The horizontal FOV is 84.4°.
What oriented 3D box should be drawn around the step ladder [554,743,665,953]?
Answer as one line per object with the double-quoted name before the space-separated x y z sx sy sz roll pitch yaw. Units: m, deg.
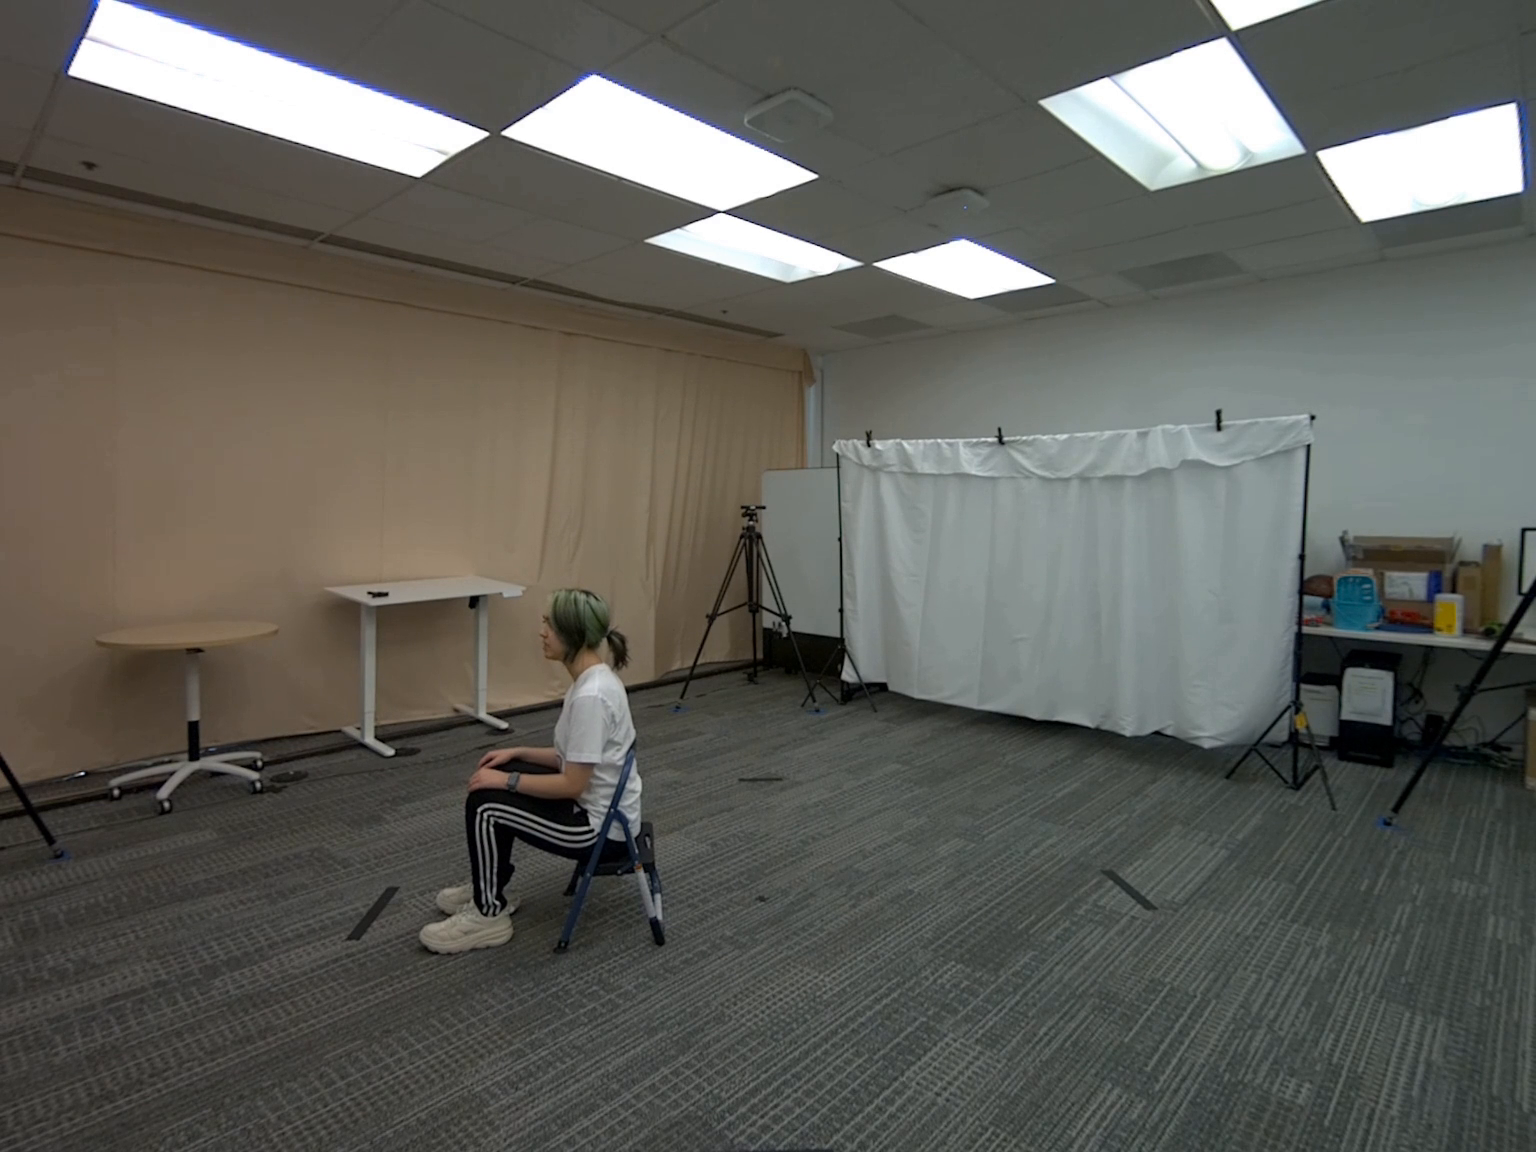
"step ladder" -0.530 0.865 2.835 0.346 0.605 0.435 -2 3 -9
